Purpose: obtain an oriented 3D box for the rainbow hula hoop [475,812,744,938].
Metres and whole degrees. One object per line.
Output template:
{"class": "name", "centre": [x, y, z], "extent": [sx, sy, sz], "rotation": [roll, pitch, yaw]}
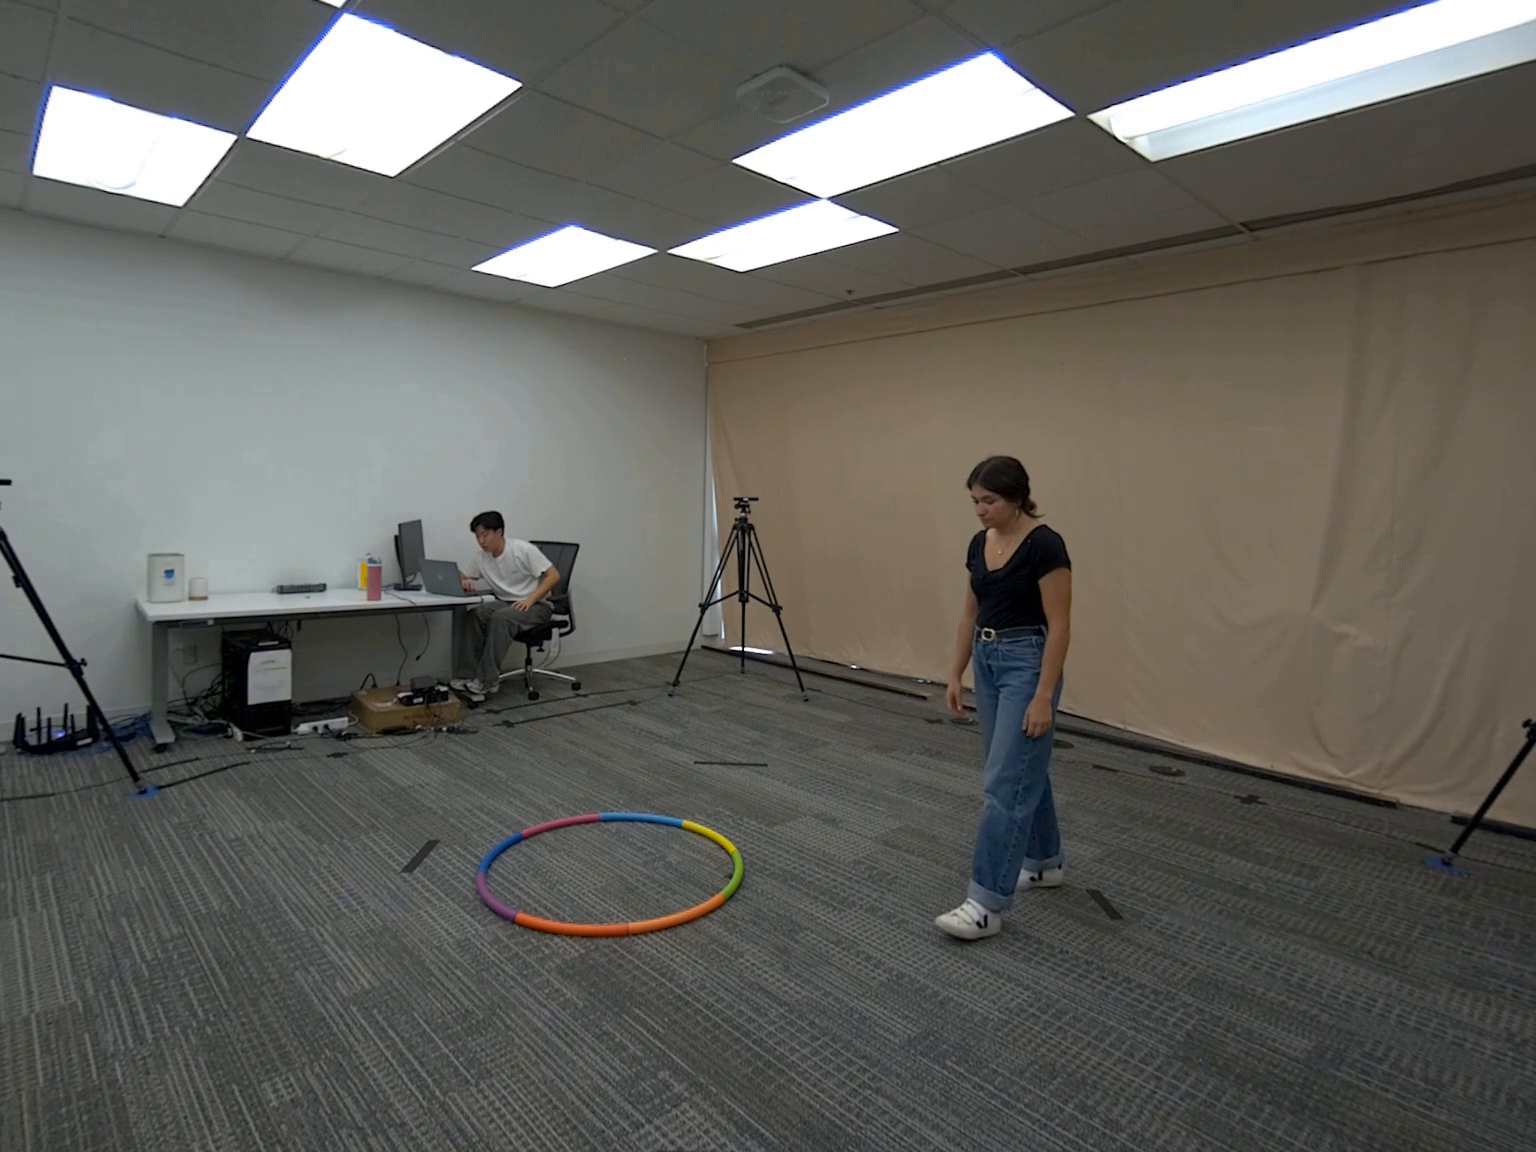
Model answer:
{"class": "rainbow hula hoop", "centre": [-0.581, 1.066, 3.130], "extent": [0.978, 0.035, 0.982], "rotation": [1, 5, -1]}
